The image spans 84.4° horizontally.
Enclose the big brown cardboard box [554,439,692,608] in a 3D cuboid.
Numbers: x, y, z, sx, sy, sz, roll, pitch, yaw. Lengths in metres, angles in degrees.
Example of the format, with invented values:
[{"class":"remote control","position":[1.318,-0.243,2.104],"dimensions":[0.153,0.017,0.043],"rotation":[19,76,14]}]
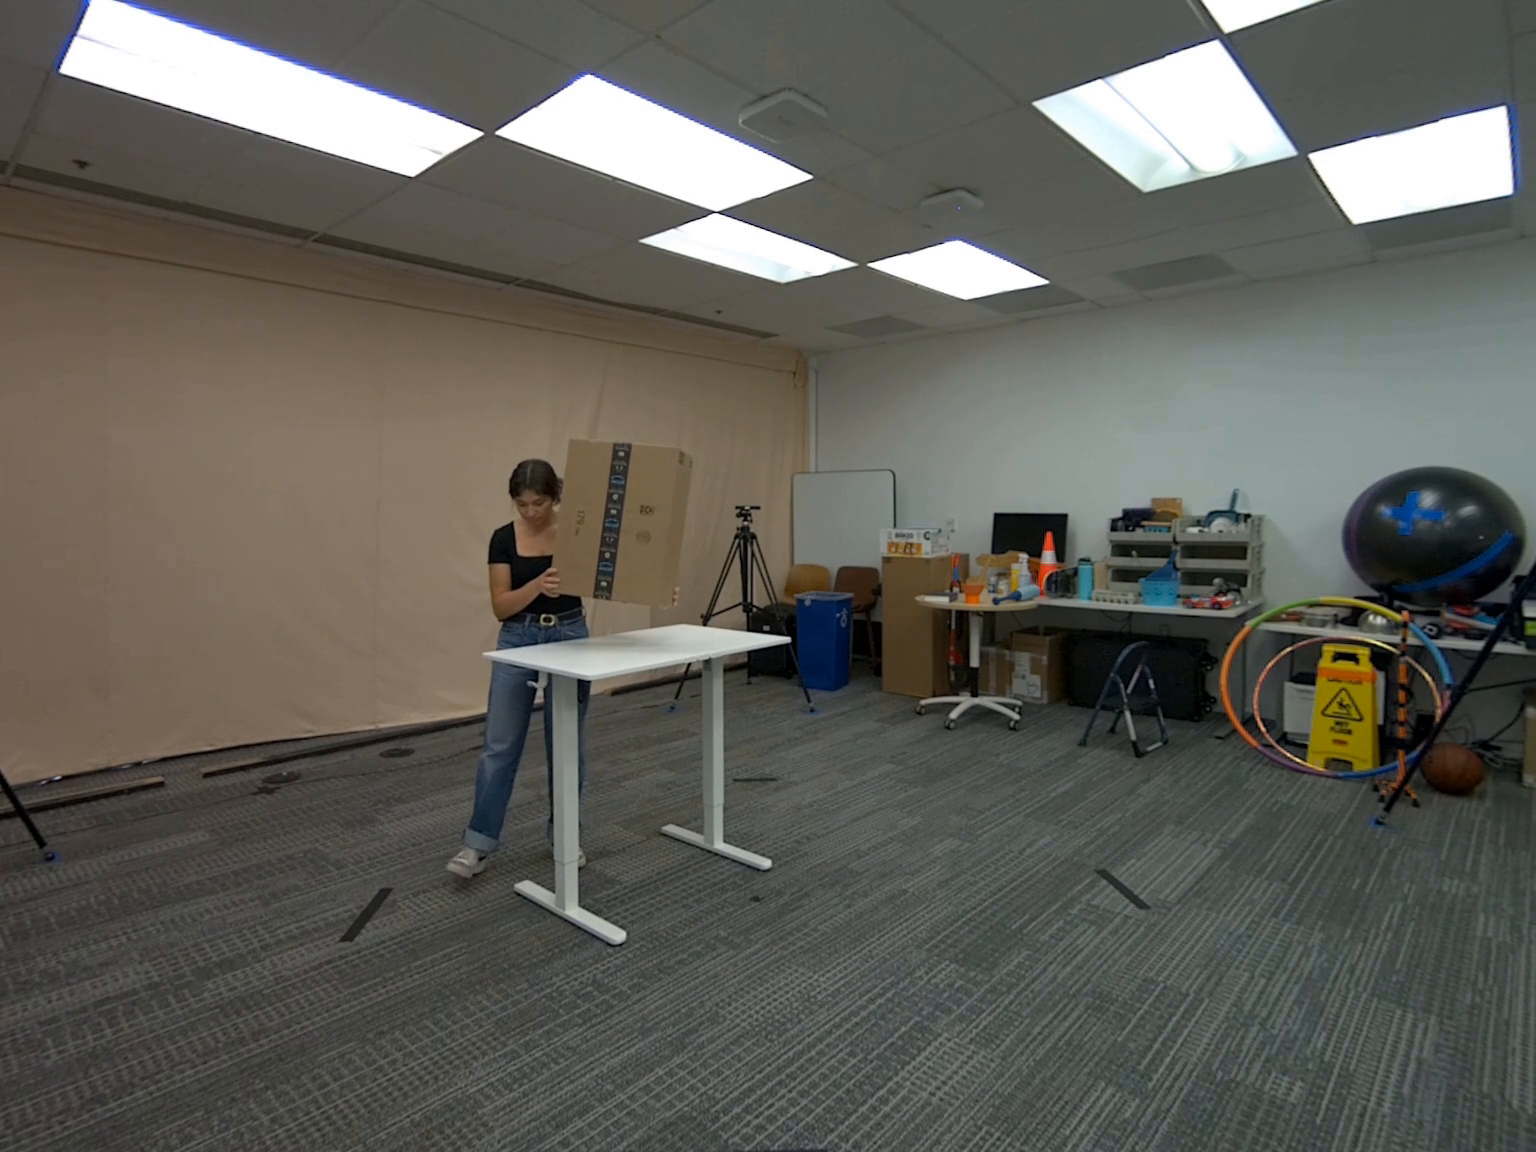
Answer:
[{"class":"big brown cardboard box","position":[-0.537,-0.189,3.079],"dimensions":[0.423,0.589,0.230],"rotation":[7,-1,10]}]
